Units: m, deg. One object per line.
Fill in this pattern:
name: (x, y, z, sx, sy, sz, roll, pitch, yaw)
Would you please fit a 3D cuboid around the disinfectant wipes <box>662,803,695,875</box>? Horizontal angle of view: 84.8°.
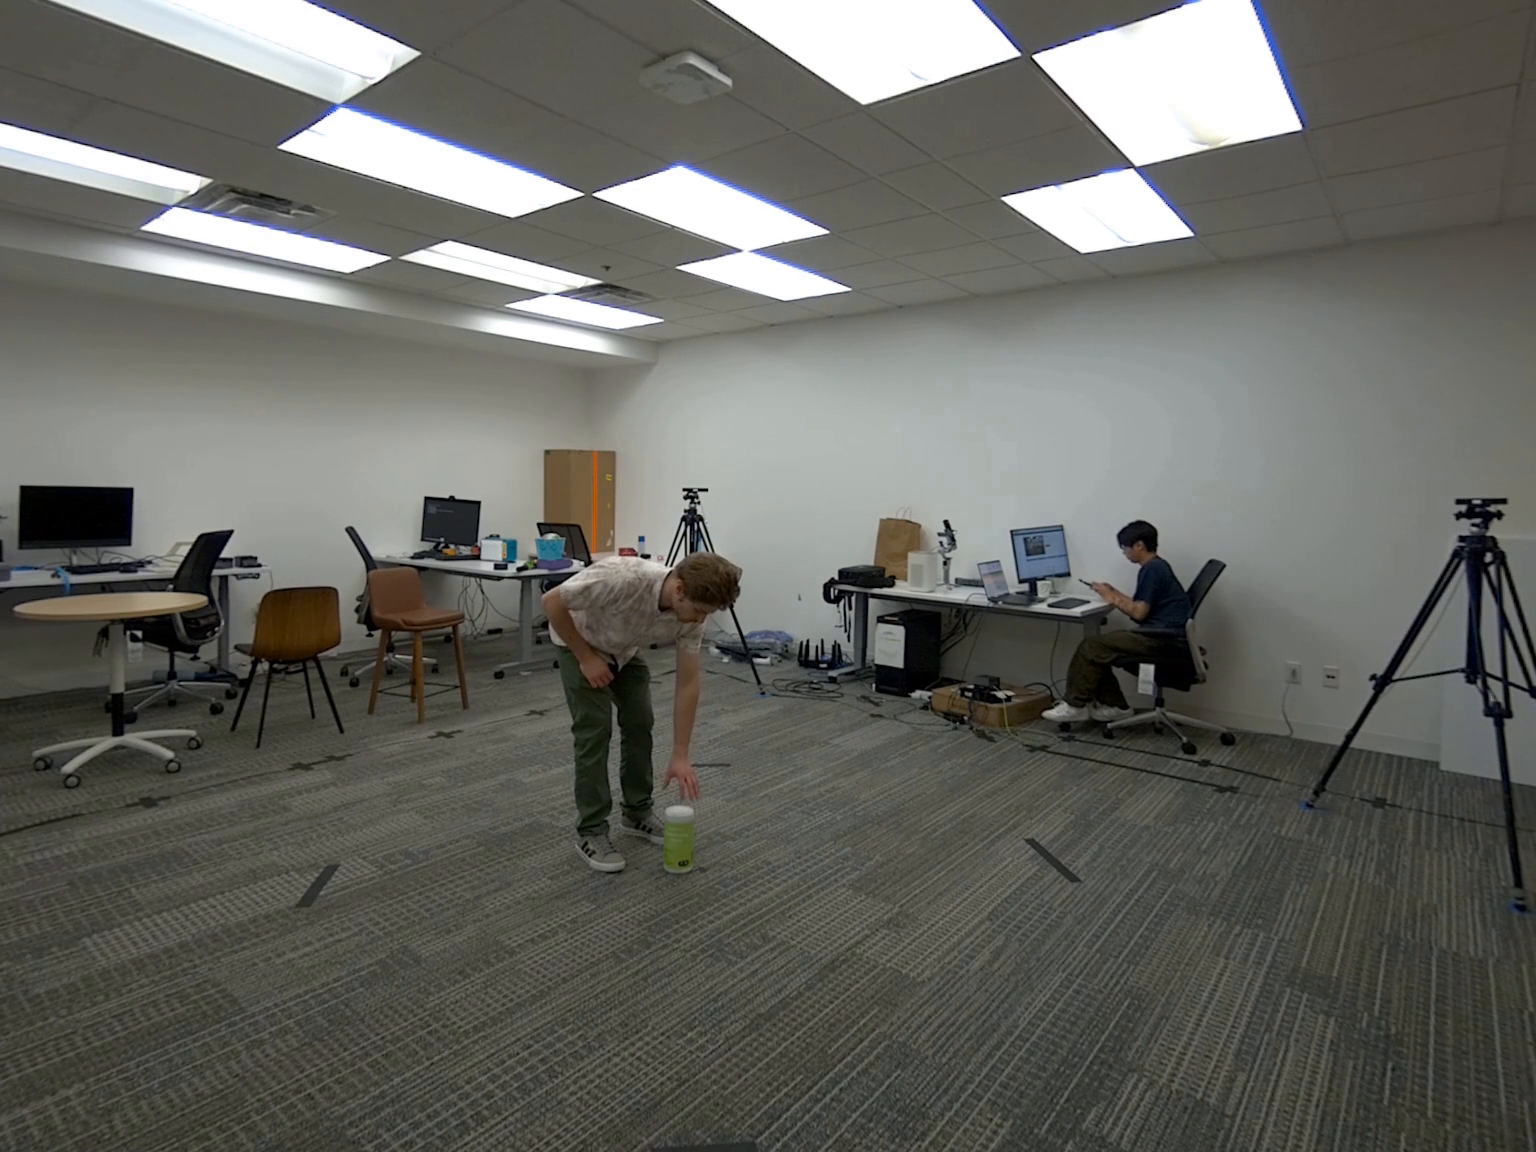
disinfectant wipes: (-0.337, 0.963, 3.111, 0.118, 0.217, 0.118, 1, 2, -2)
